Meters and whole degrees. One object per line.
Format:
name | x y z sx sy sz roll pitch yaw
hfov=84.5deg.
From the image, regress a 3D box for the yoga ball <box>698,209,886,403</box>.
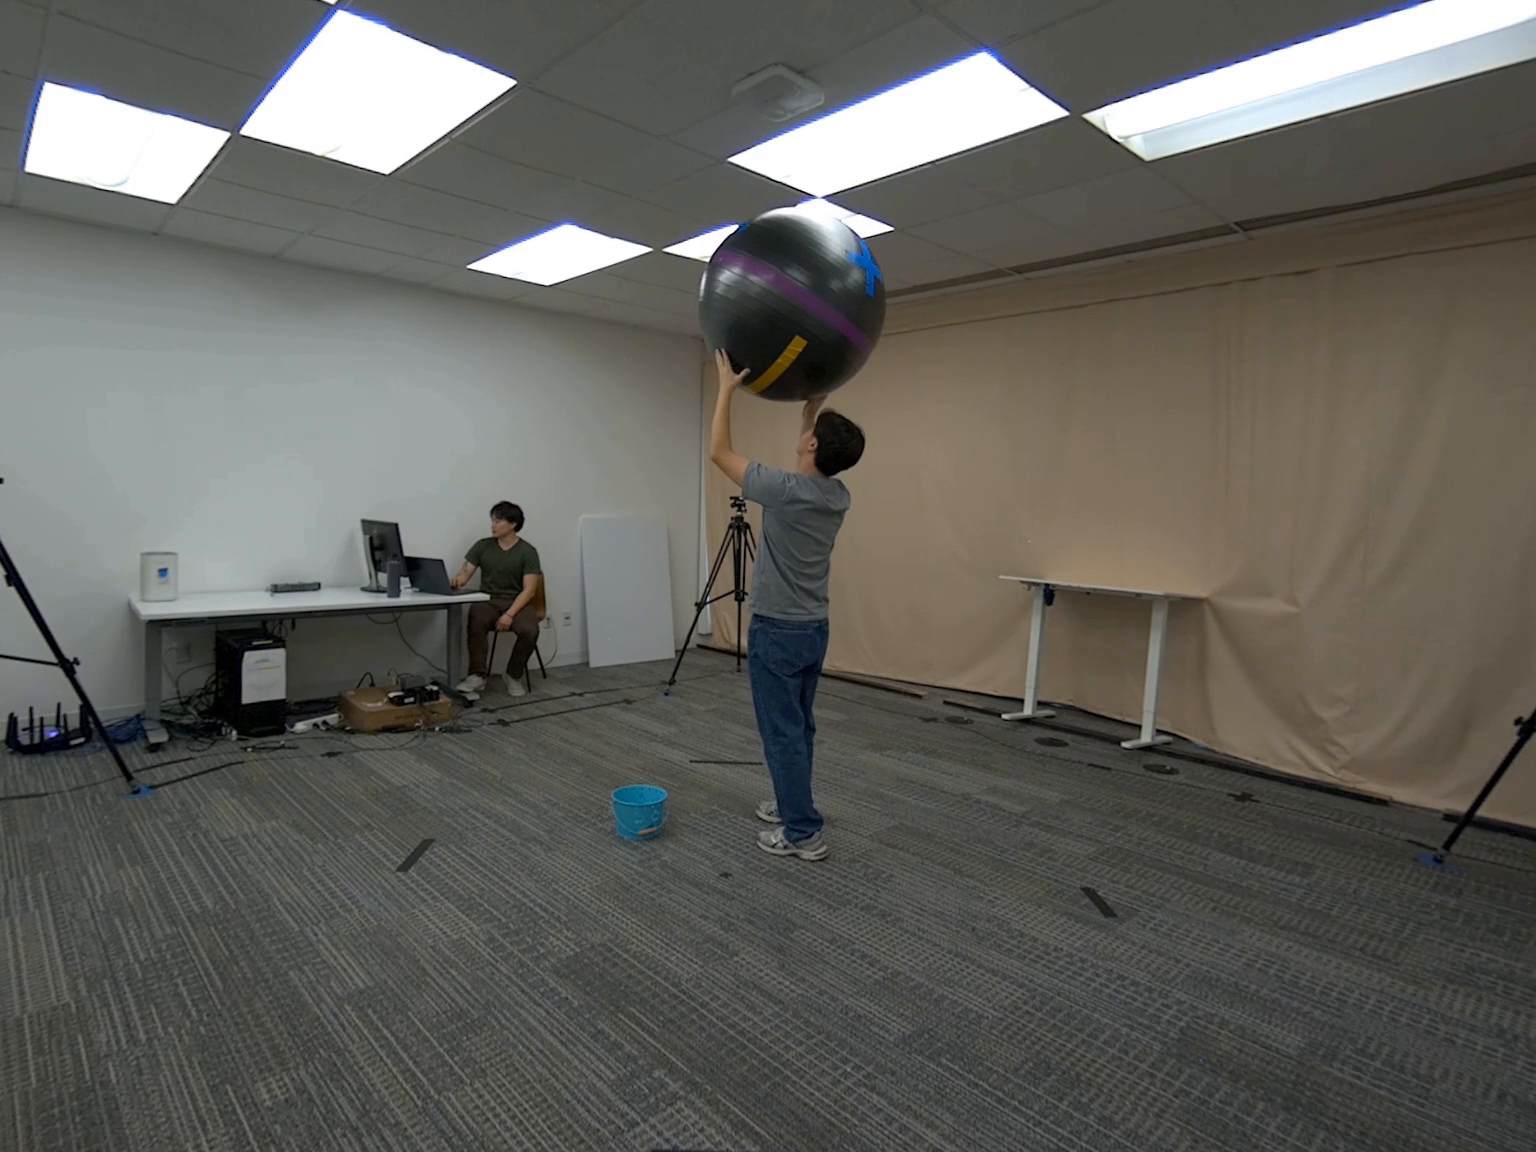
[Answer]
yoga ball | 0.090 -1.099 3.428 0.757 0.756 0.761 1 4 -1
